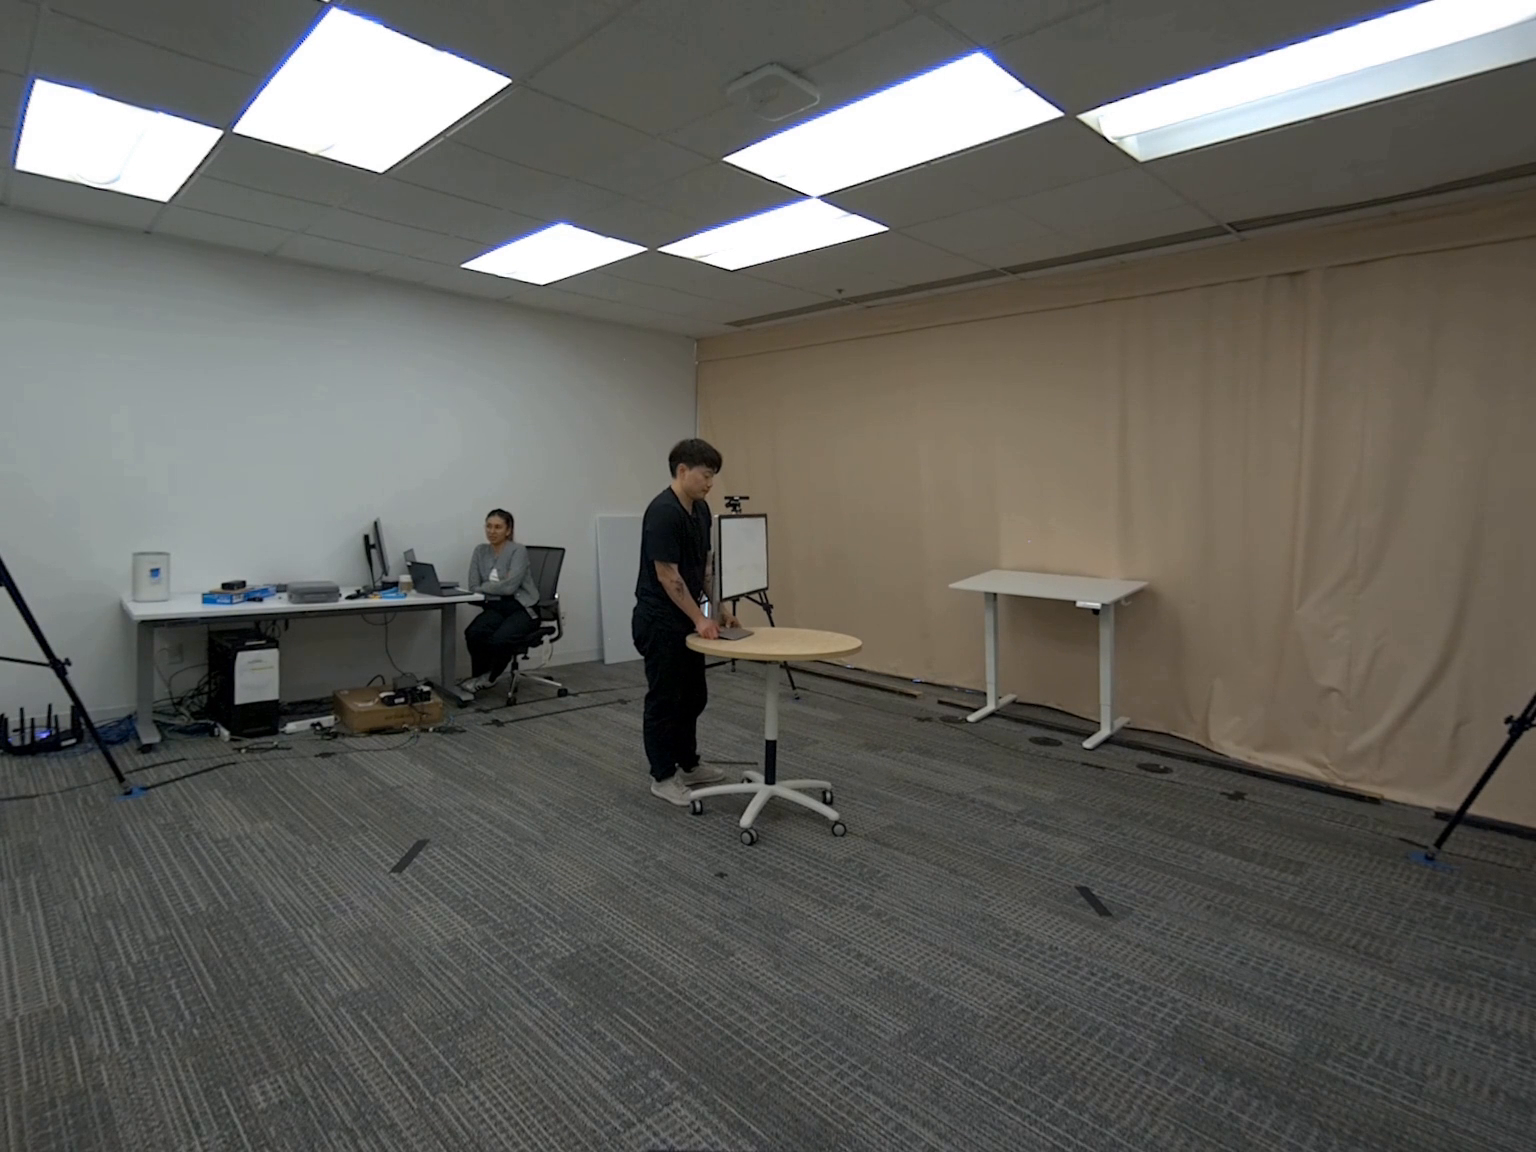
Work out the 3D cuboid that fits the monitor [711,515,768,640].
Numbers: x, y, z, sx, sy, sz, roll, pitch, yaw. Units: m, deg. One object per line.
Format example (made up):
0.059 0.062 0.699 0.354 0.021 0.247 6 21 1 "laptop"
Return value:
-0.164 -0.010 3.745 0.190 0.520 0.532 13 7 18 "monitor"
